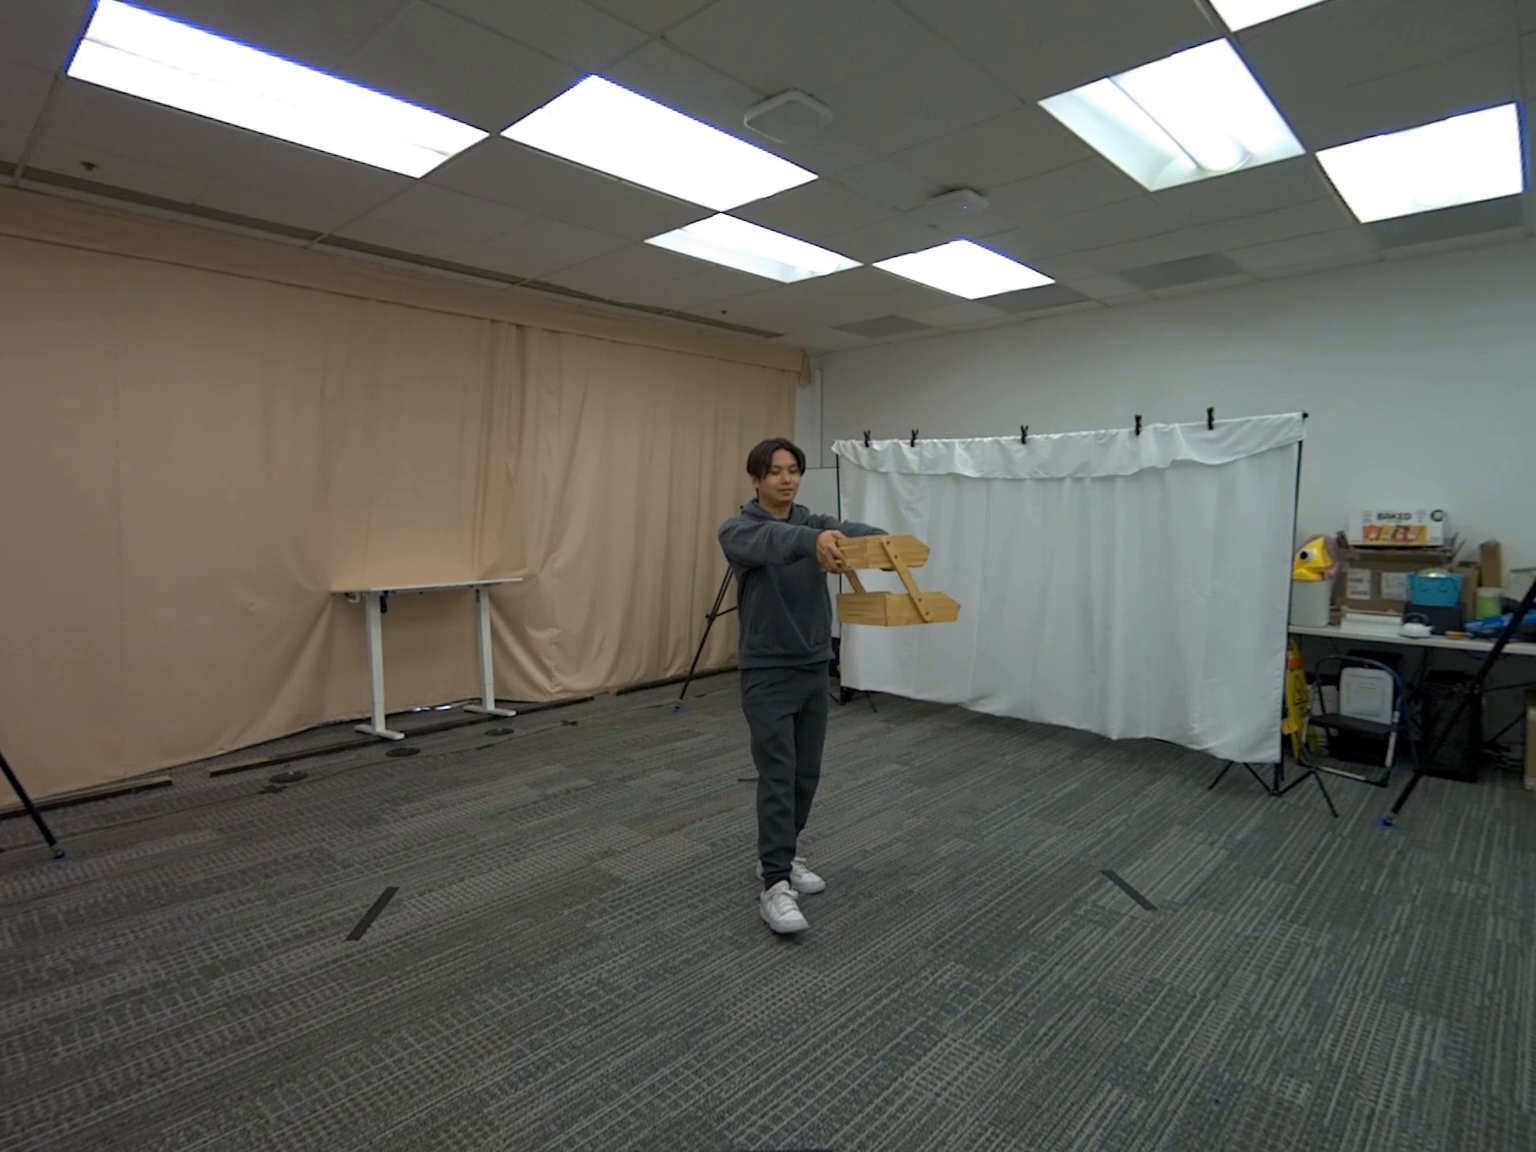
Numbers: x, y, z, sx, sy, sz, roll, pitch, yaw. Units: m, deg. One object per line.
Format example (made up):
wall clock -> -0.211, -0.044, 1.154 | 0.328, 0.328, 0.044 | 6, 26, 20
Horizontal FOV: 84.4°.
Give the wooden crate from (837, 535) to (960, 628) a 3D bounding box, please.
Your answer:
wooden crate -> 0.374, 0.009, 2.554 | 0.296, 0.273, 0.330 | -4, 0, -20
